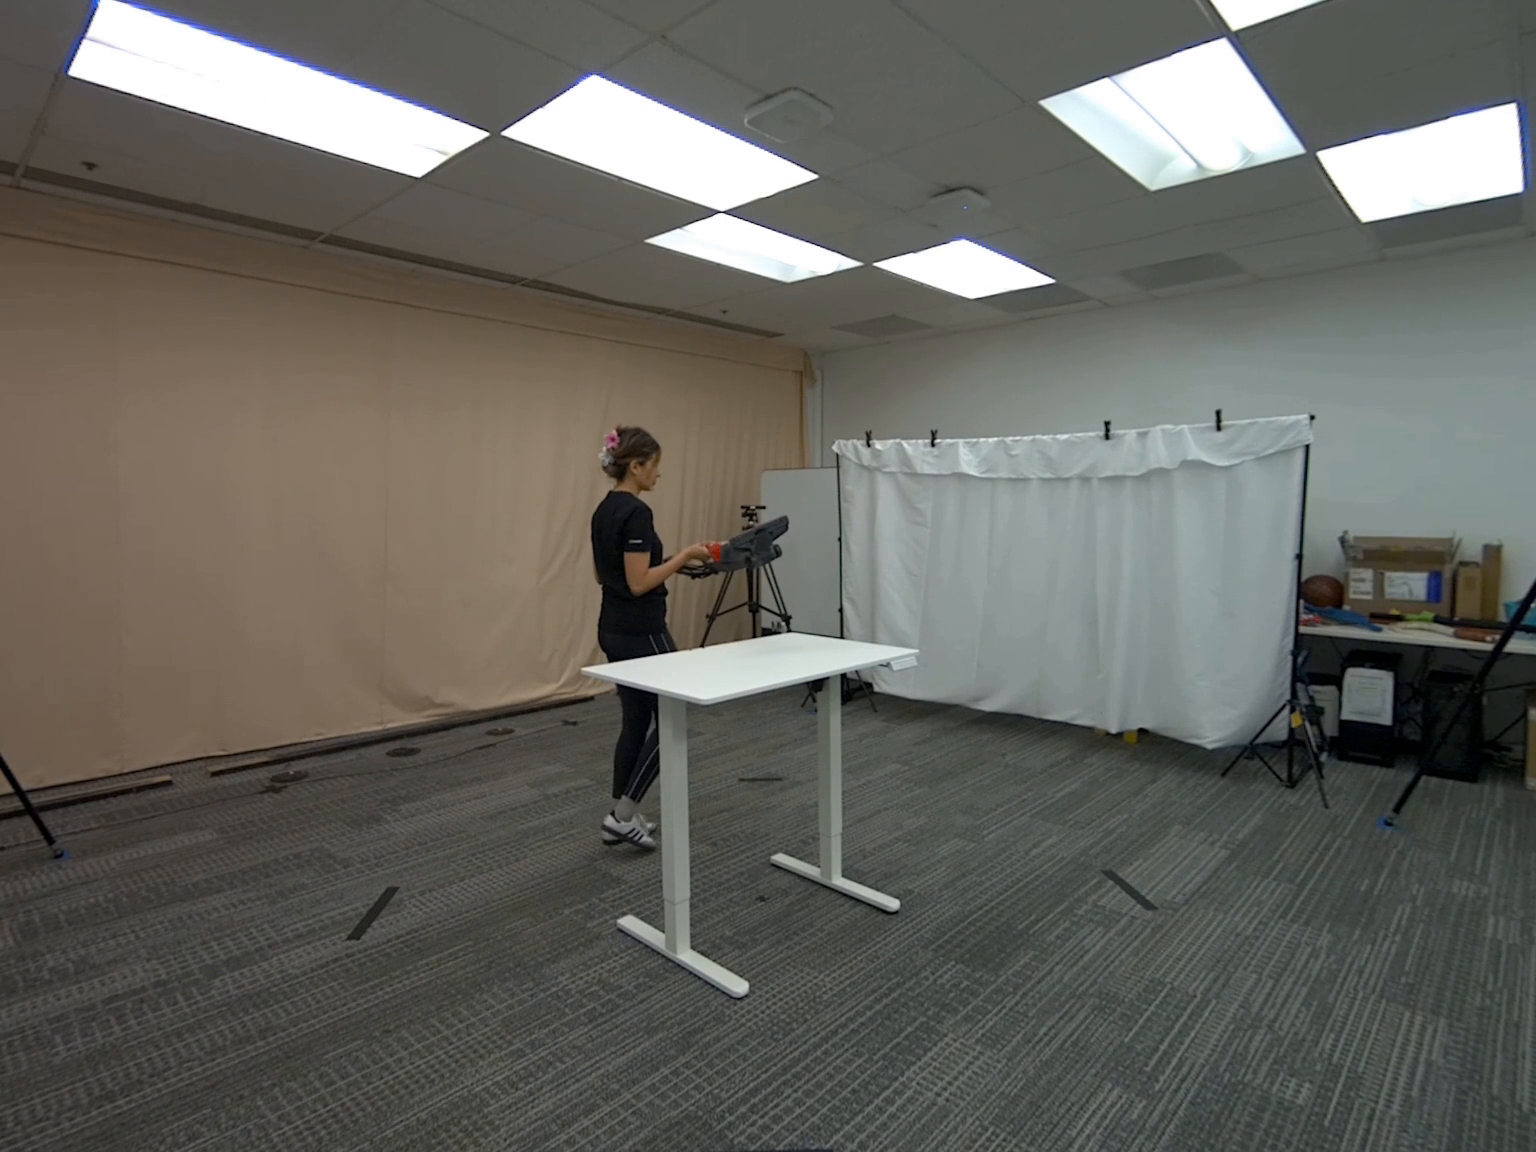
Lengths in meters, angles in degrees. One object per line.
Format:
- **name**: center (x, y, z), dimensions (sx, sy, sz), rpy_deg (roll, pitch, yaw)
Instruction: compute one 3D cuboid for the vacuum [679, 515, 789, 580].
- **vacuum**: center (-0.253, -0.053, 3.485), dimensions (0.248, 0.143, 1.071), rpy_deg (-23, 5, -29)
